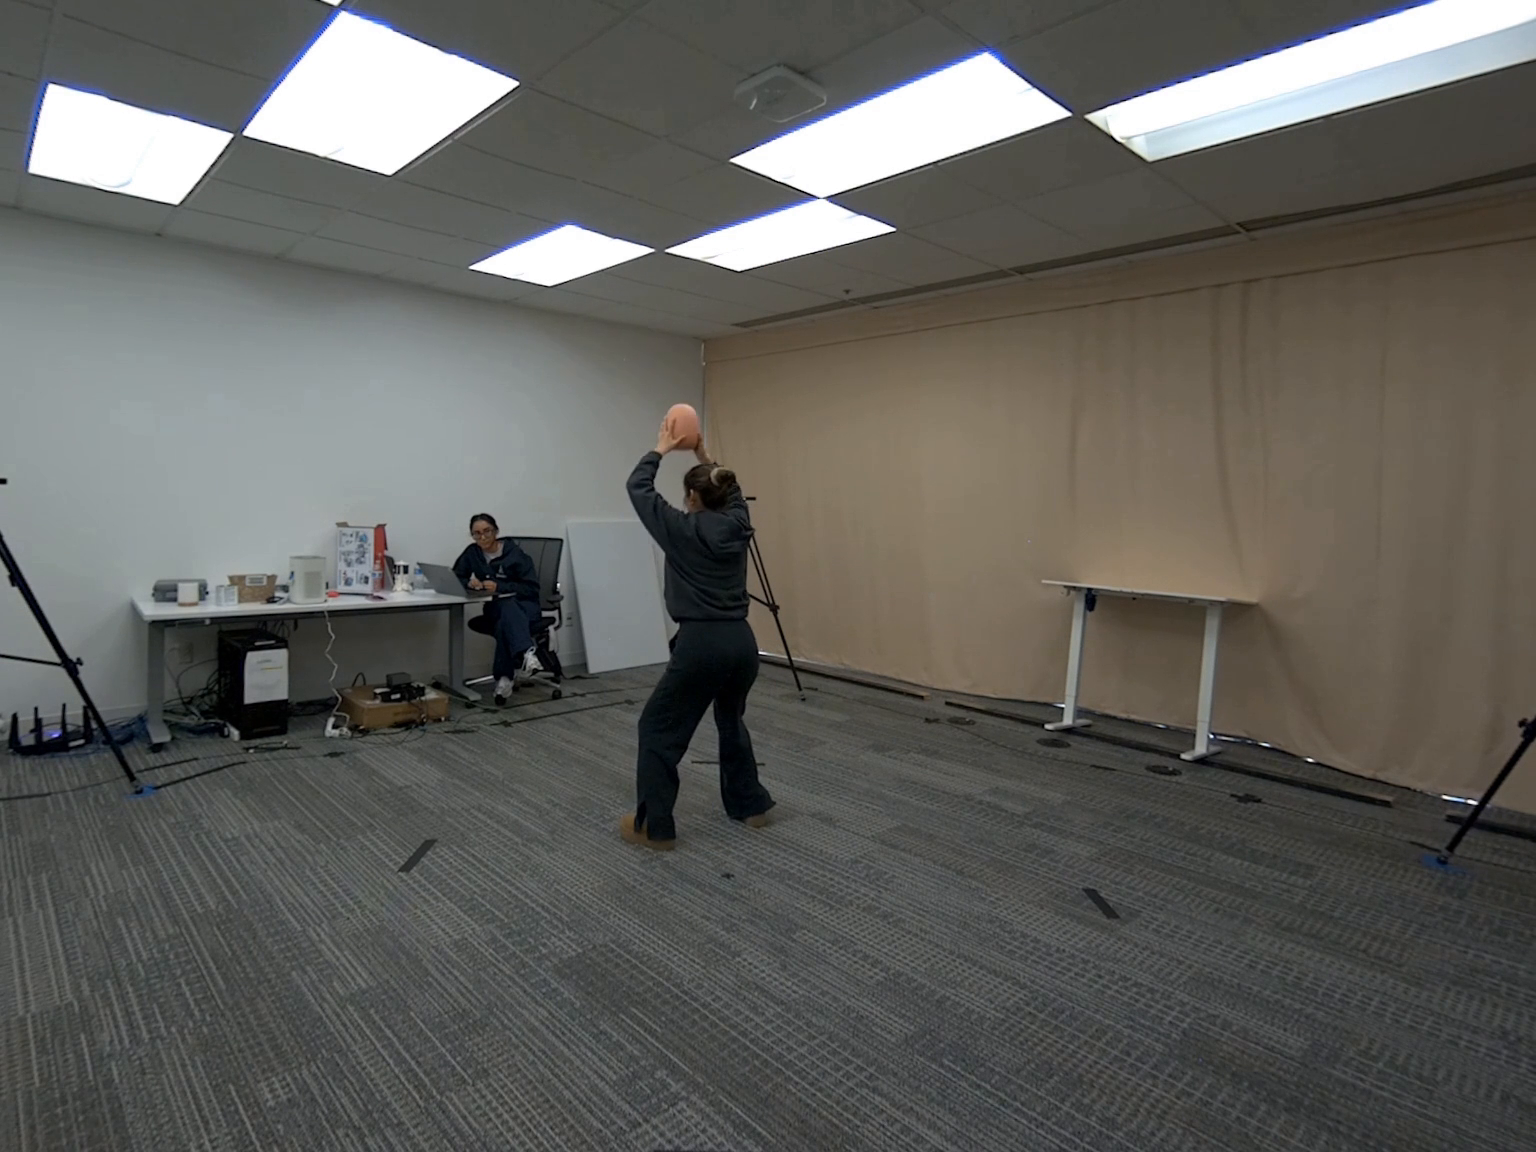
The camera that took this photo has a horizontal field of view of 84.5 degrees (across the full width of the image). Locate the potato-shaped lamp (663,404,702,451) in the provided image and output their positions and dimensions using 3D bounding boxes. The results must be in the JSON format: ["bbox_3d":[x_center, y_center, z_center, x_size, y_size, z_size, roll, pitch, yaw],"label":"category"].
[{"bbox_3d":[-0.392,-0.634,3.643,0.161,0.198,0.175,1,2,-34],"label":"potato-shaped lamp"}]
